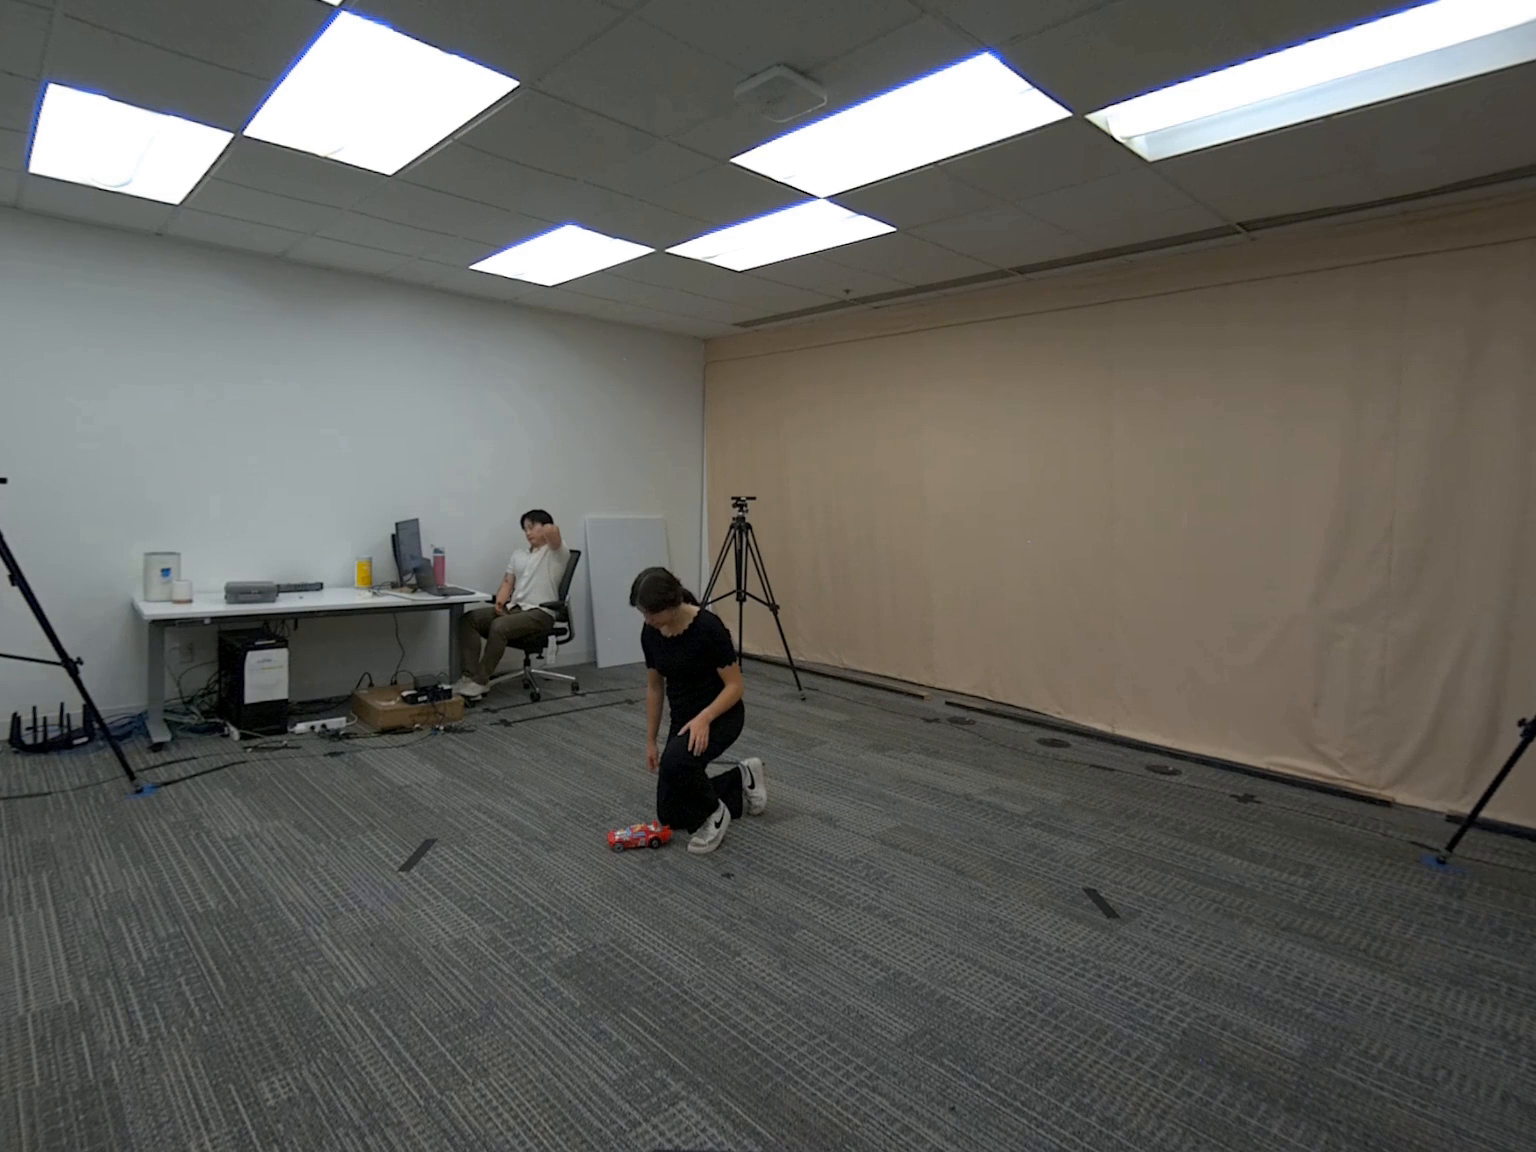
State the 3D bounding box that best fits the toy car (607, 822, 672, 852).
[{"bbox_3d":[-0.514,1.037,3.359,0.252,0.083,0.132,-11,8,-14],"label":"toy car"}]
